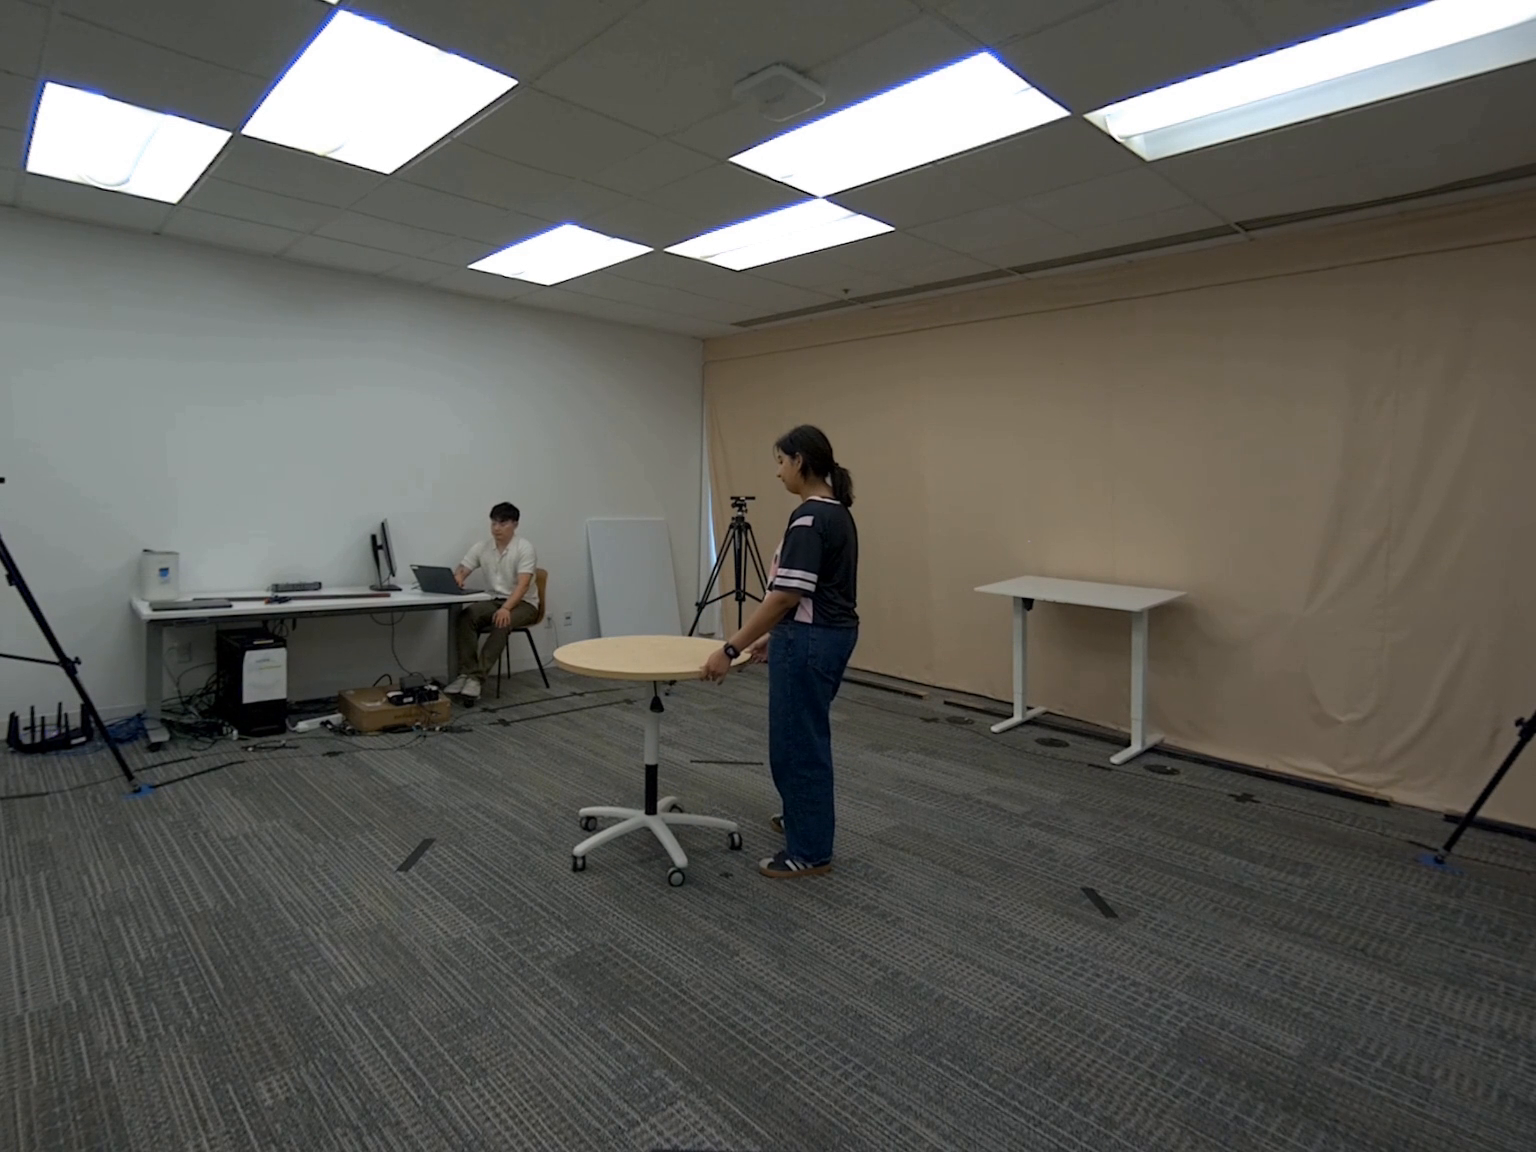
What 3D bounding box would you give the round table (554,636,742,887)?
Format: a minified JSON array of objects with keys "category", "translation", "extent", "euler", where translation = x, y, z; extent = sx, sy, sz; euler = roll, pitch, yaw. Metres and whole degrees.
[{"category":"round table","translation":[-0.457,0.687,3.307],"extent":[0.763,0.792,0.767],"euler":[1,4,-1]}]
